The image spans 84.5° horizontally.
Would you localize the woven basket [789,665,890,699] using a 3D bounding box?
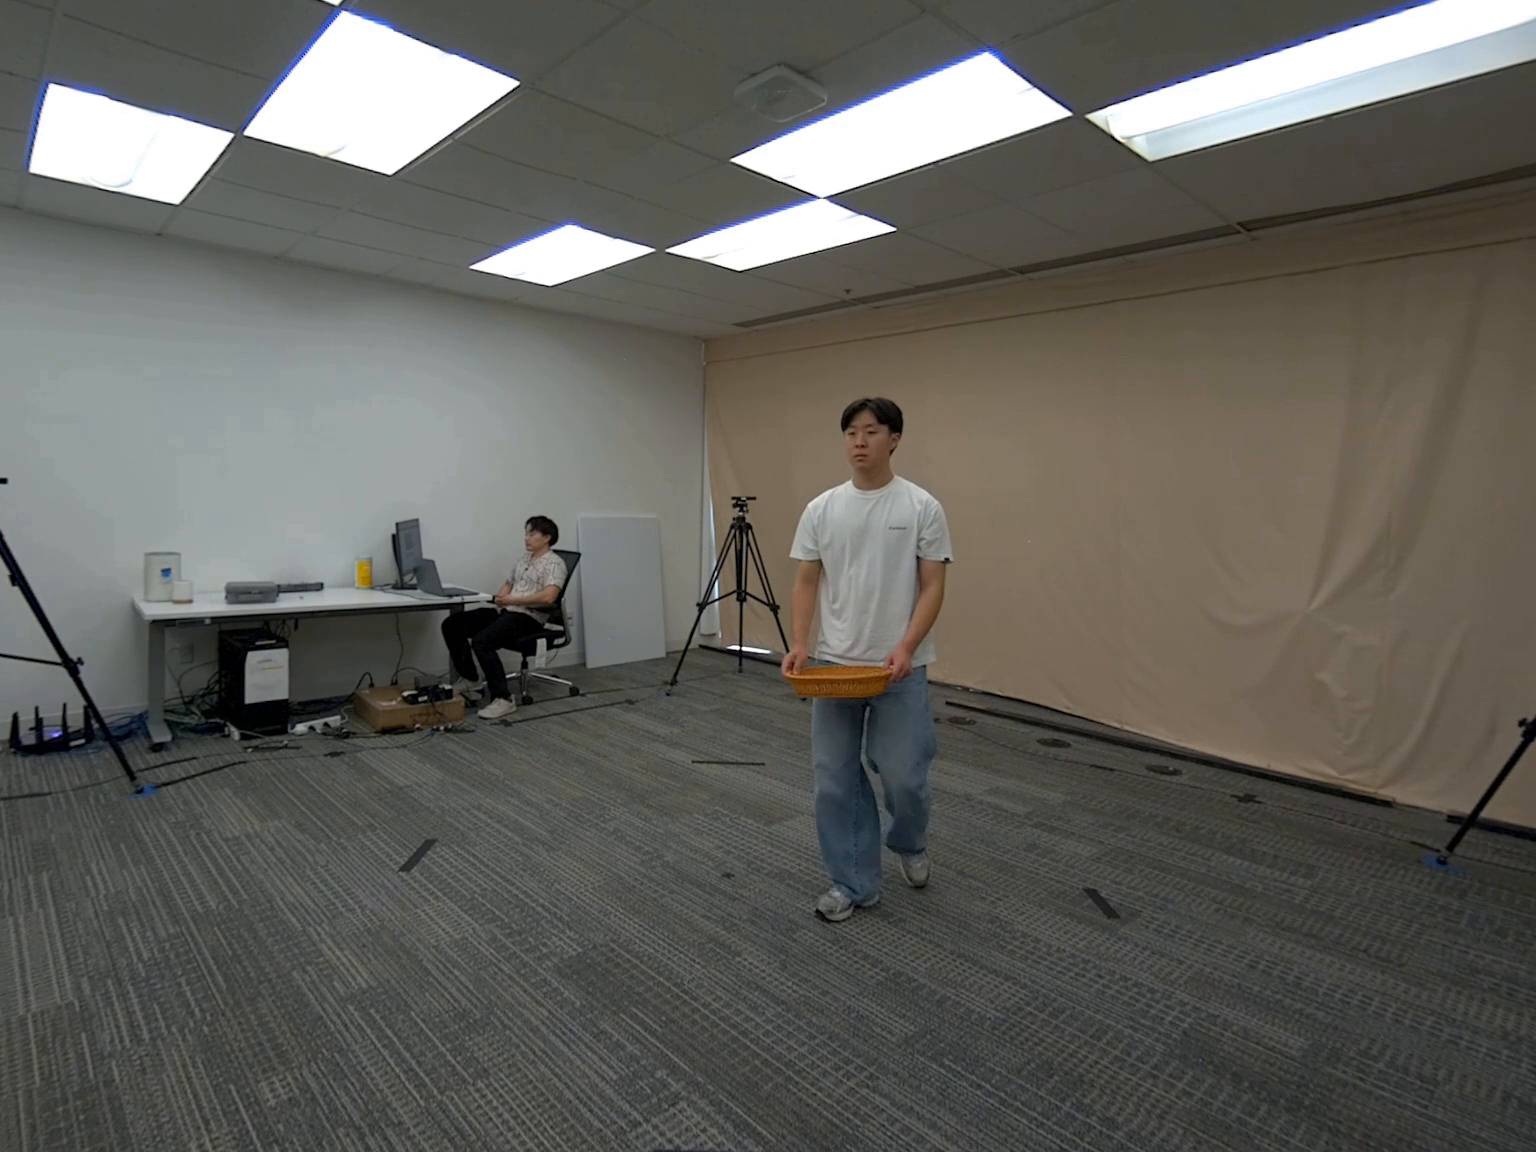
[{"bbox_3d":[0.214,0.335,2.662,0.357,0.073,0.247,-2,3,31],"label":"woven basket"}]
